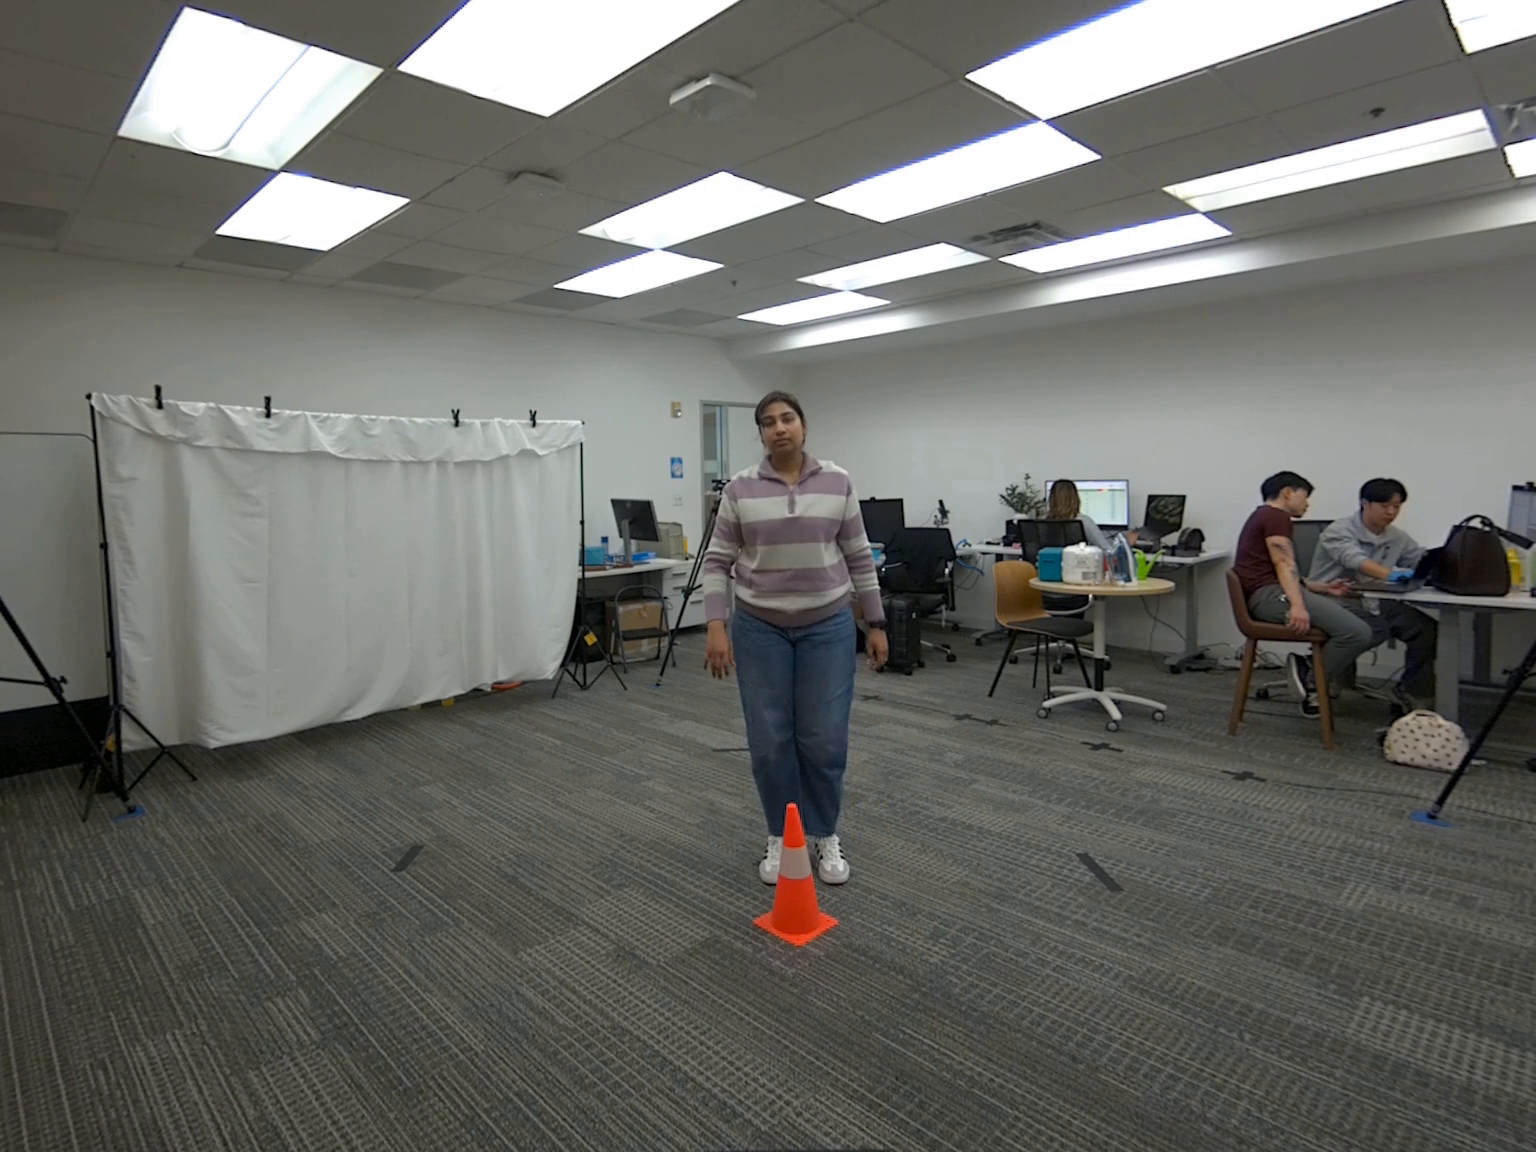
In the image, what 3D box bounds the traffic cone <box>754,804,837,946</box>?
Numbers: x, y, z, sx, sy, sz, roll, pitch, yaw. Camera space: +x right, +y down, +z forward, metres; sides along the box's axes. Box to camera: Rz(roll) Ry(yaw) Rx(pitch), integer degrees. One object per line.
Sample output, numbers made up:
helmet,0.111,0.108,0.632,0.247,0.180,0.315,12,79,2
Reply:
traffic cone,0.088,0.912,2.683,0.211,0.382,0.198,2,5,40
